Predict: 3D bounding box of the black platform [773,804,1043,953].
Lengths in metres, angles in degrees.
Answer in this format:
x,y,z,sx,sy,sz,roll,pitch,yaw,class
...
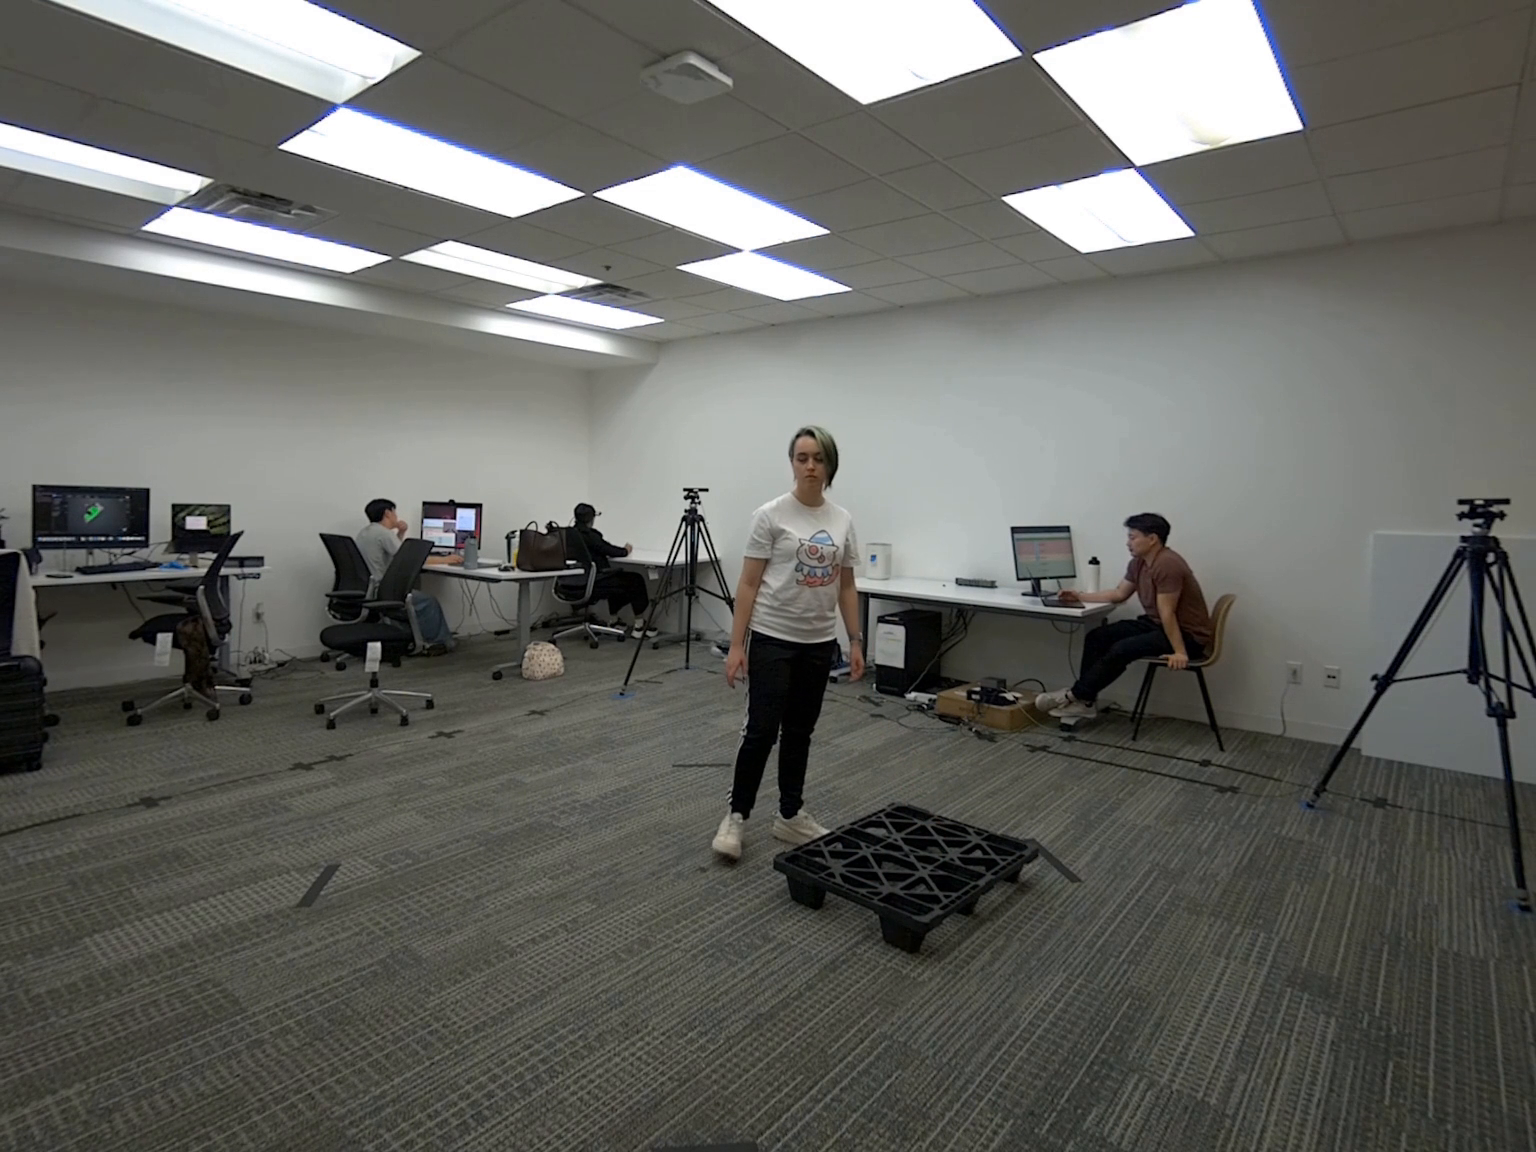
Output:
x,y,z,sx,sy,sz,roll,pitch,yaw,class
0.480,1.032,2.985,0.626,0.143,0.781,6,7,42,black platform
